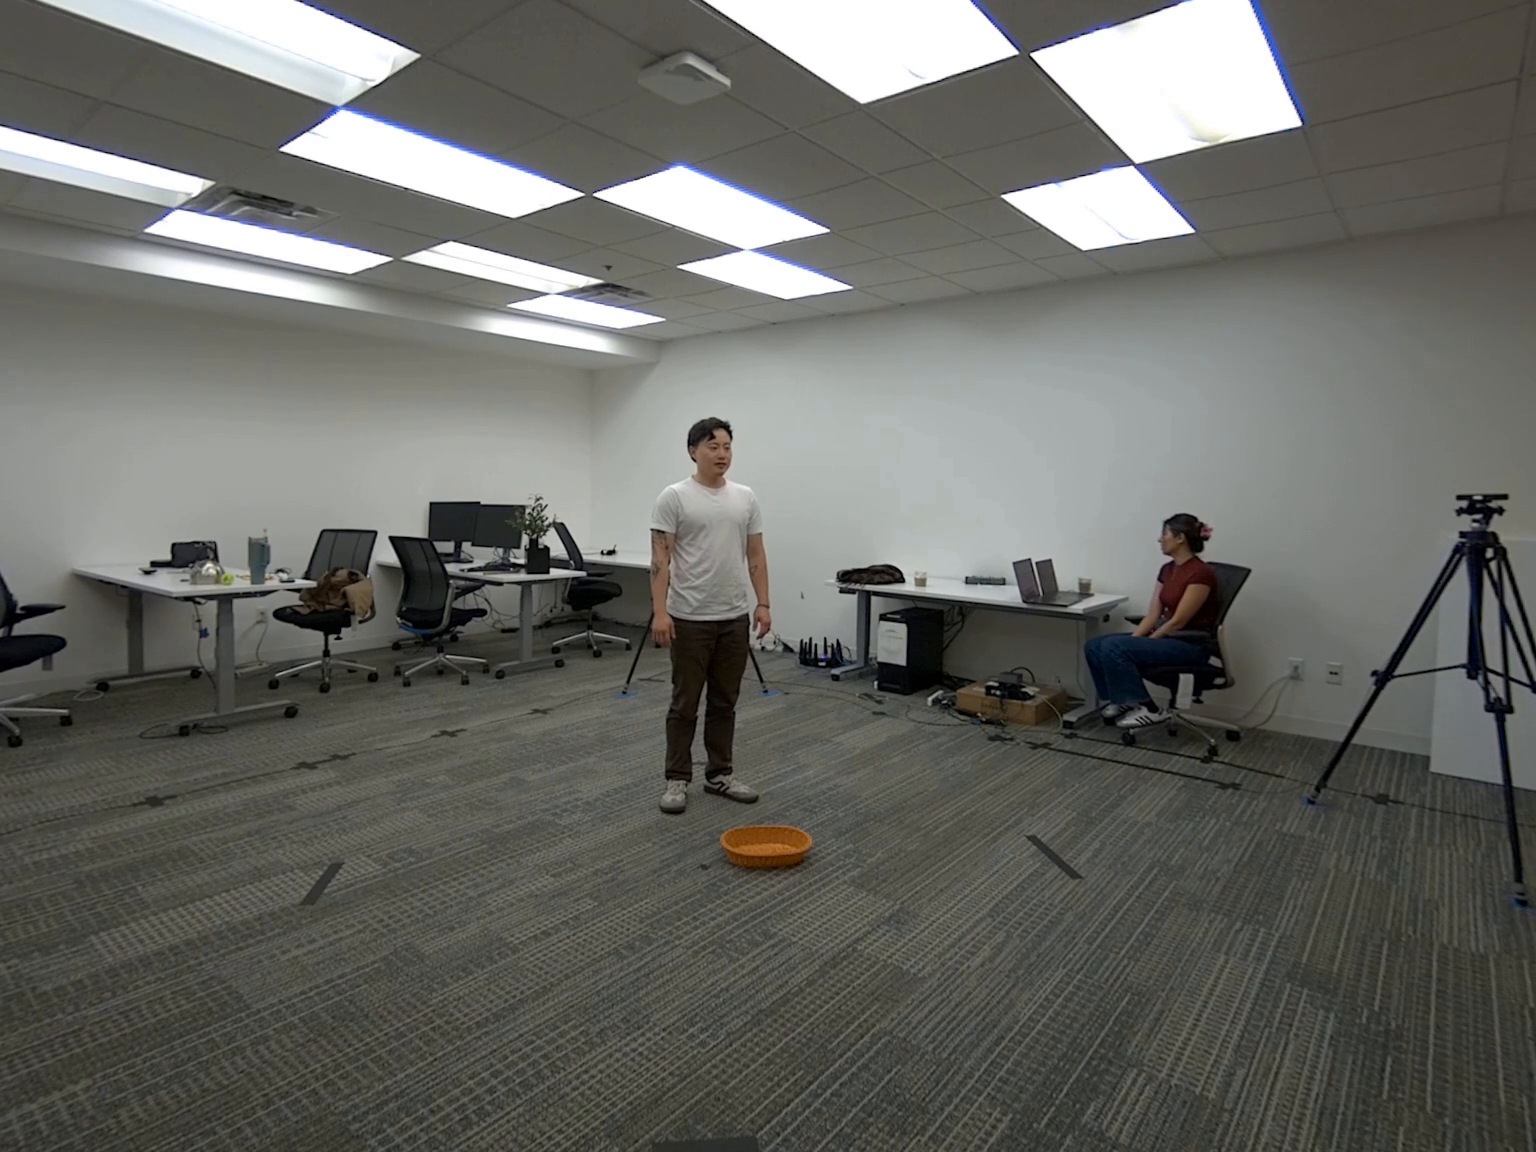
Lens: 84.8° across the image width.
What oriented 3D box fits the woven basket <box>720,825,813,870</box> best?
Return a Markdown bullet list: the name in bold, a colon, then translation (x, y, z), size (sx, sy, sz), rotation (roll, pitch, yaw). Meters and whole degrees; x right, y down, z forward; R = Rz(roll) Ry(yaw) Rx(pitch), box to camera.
- **woven basket**: translation (-0.019, 1.022, 3.204), size (0.347, 0.073, 0.256), rotation (0, 6, -10)
